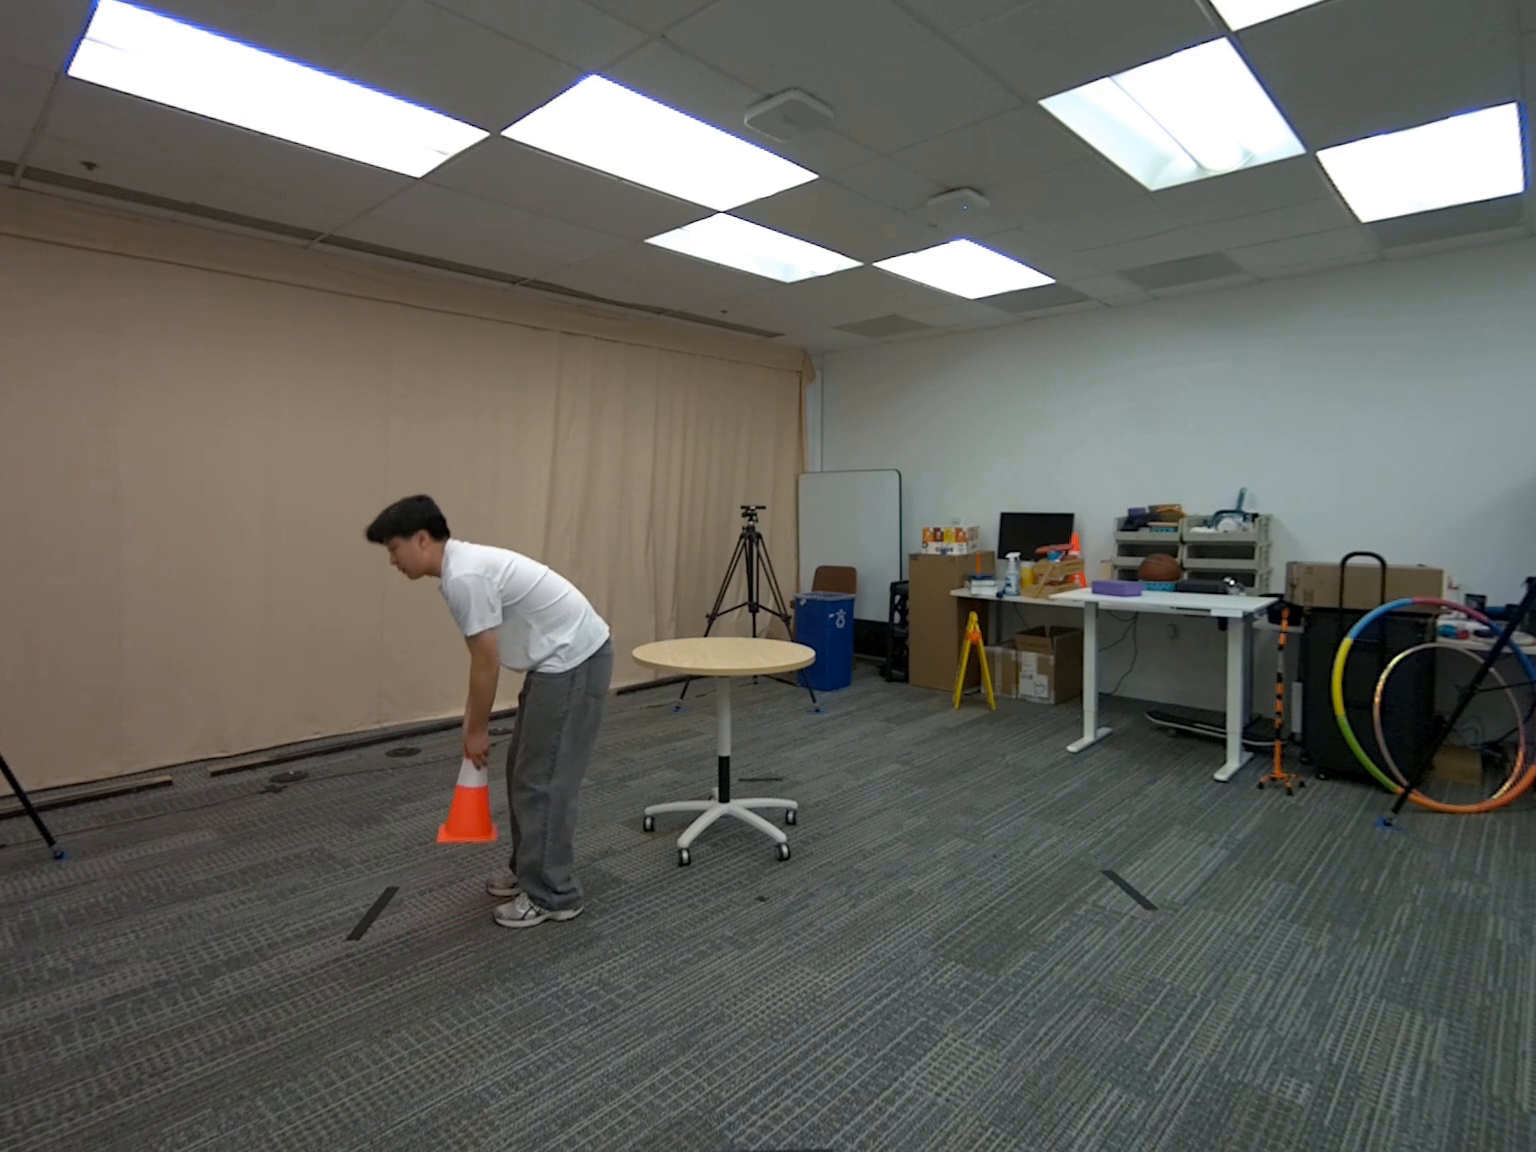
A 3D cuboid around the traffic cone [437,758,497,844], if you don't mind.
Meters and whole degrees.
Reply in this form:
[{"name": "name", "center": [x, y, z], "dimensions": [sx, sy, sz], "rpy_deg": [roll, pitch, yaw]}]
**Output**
[{"name": "traffic cone", "center": [-1.026, 0.708, 2.921], "dimensions": [0.200, 0.384, 0.207], "rpy_deg": [7, -4, -22]}]
